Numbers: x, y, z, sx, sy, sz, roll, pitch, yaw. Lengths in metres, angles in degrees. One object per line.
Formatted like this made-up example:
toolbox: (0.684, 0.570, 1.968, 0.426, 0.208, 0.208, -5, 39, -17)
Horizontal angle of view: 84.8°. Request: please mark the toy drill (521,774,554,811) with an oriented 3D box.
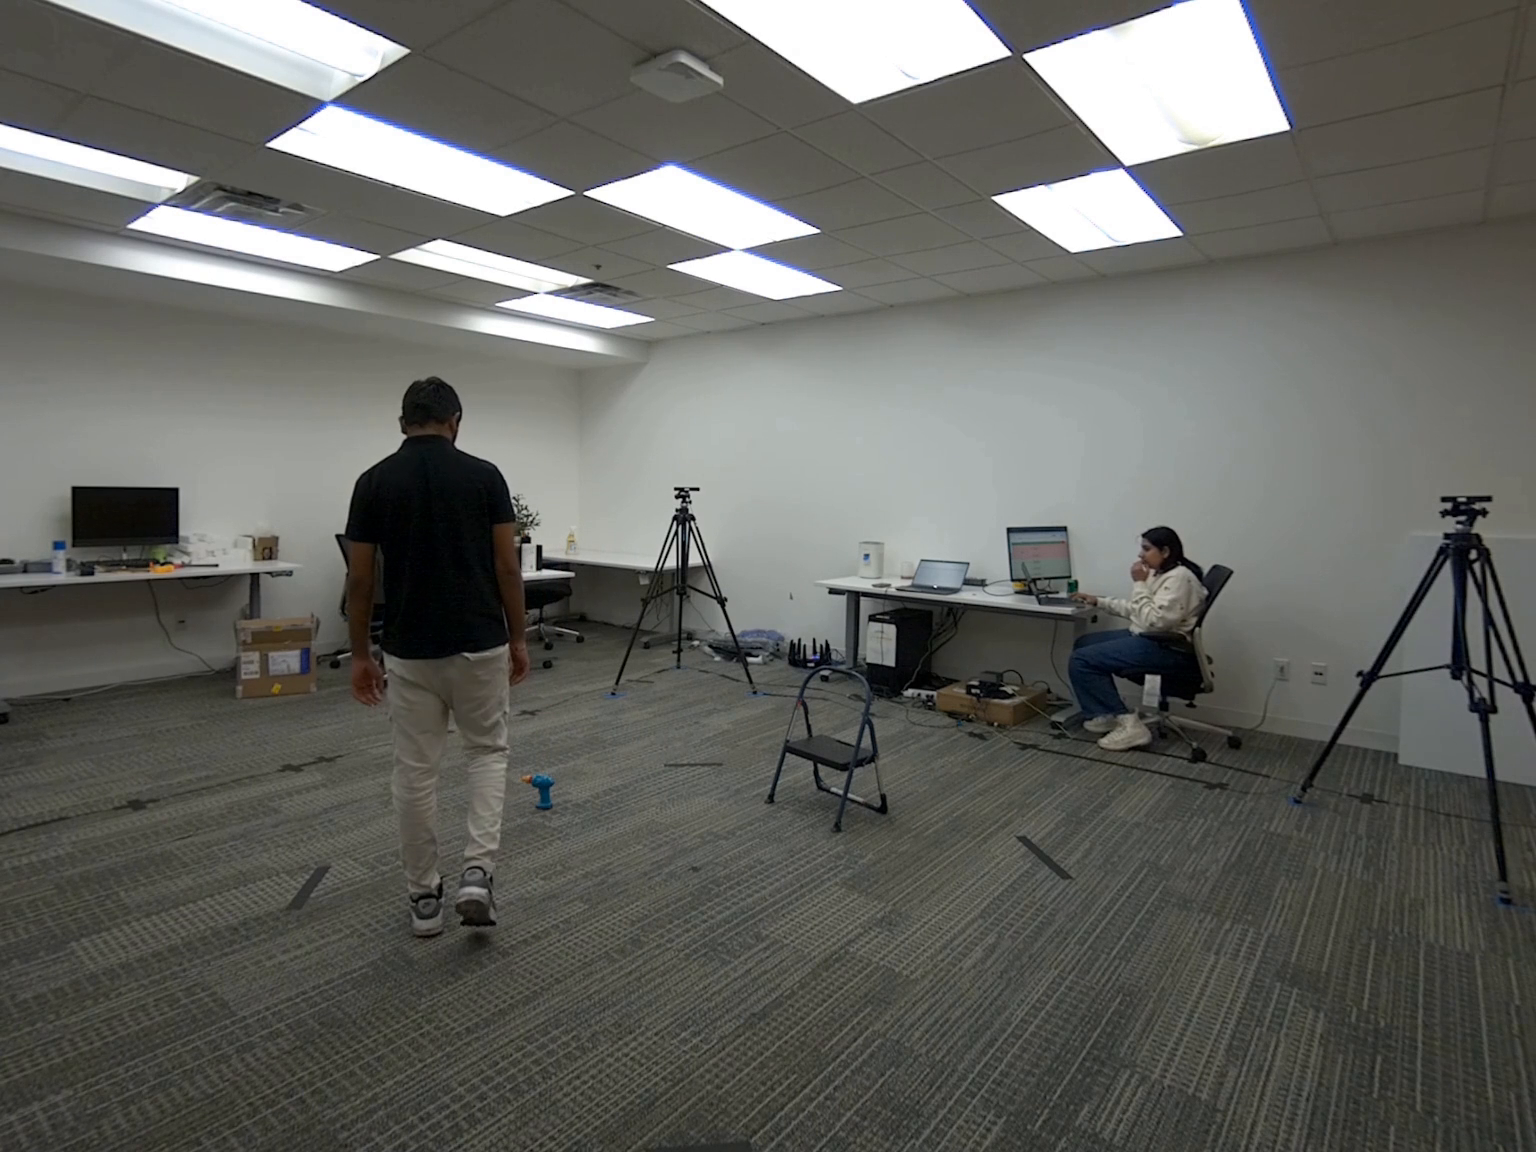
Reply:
toy drill: (-1.020, 0.925, 3.687, 0.173, 0.145, 0.060, 3, 4, 16)
